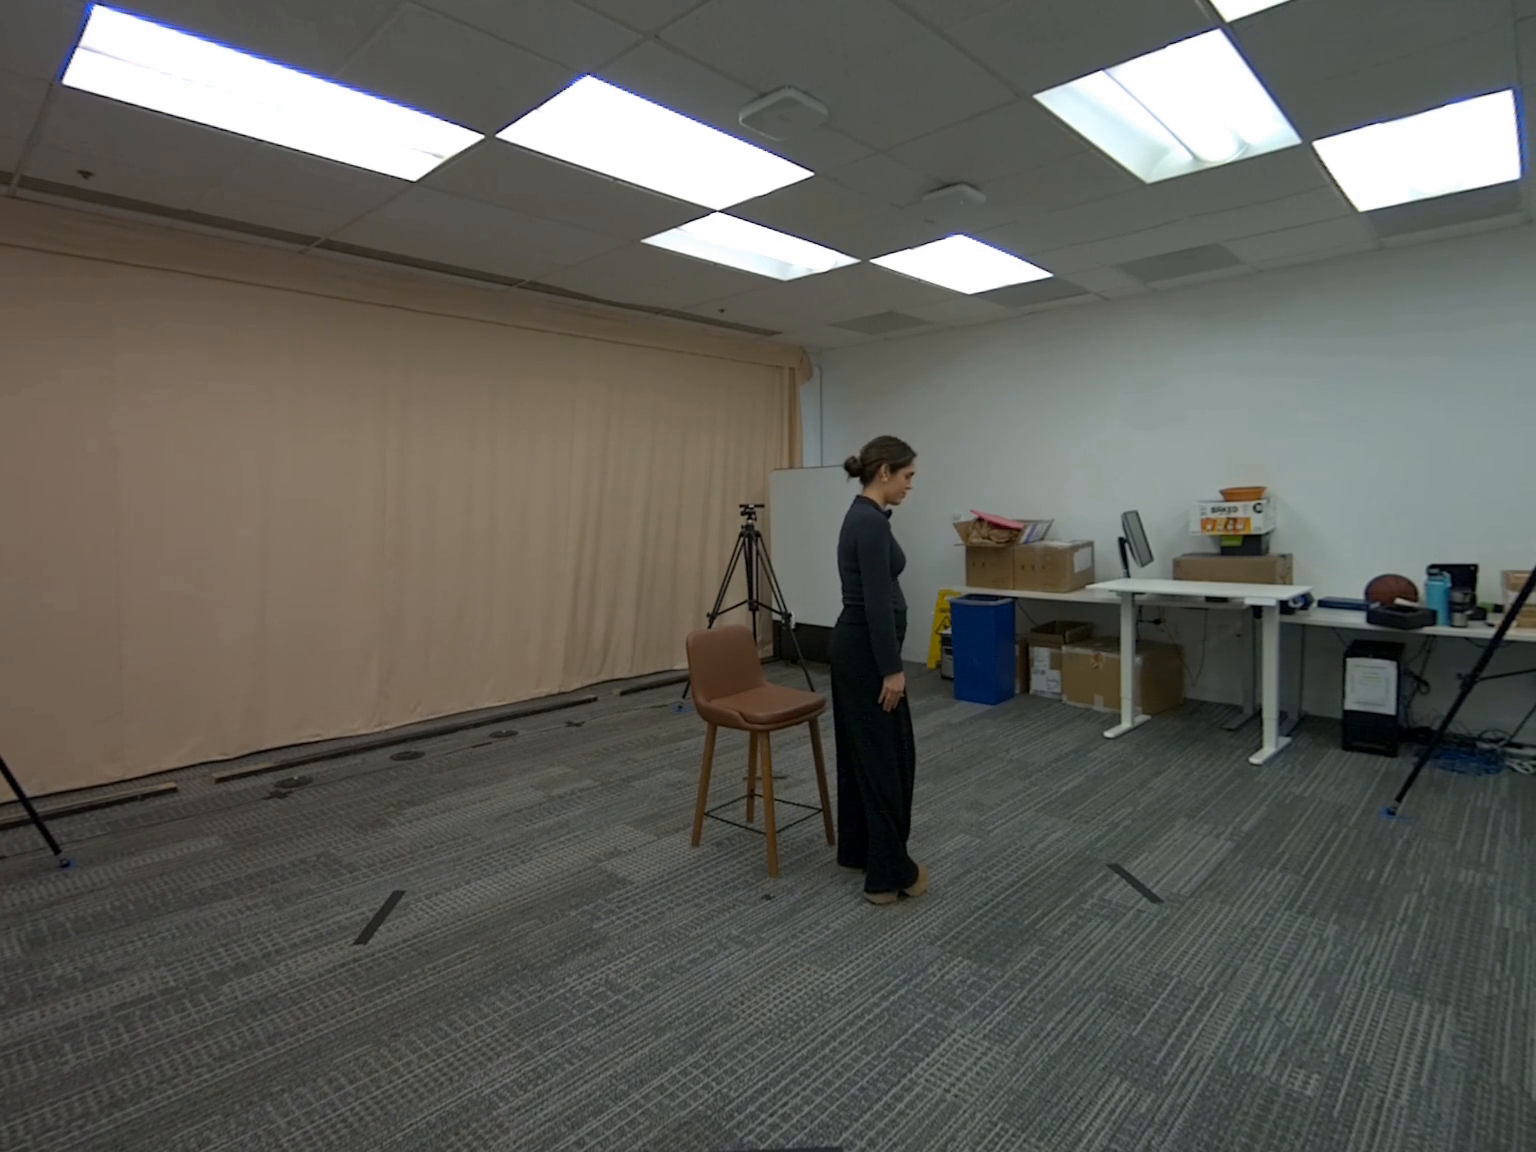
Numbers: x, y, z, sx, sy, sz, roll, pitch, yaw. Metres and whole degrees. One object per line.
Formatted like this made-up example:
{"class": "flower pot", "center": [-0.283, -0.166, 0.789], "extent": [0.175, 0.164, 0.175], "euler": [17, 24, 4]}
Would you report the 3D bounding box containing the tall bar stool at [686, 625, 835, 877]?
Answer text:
{"class": "tall bar stool", "center": [-0.037, 0.667, 3.421], "extent": [0.482, 0.889, 0.443], "euler": [-1, 2, 41]}
